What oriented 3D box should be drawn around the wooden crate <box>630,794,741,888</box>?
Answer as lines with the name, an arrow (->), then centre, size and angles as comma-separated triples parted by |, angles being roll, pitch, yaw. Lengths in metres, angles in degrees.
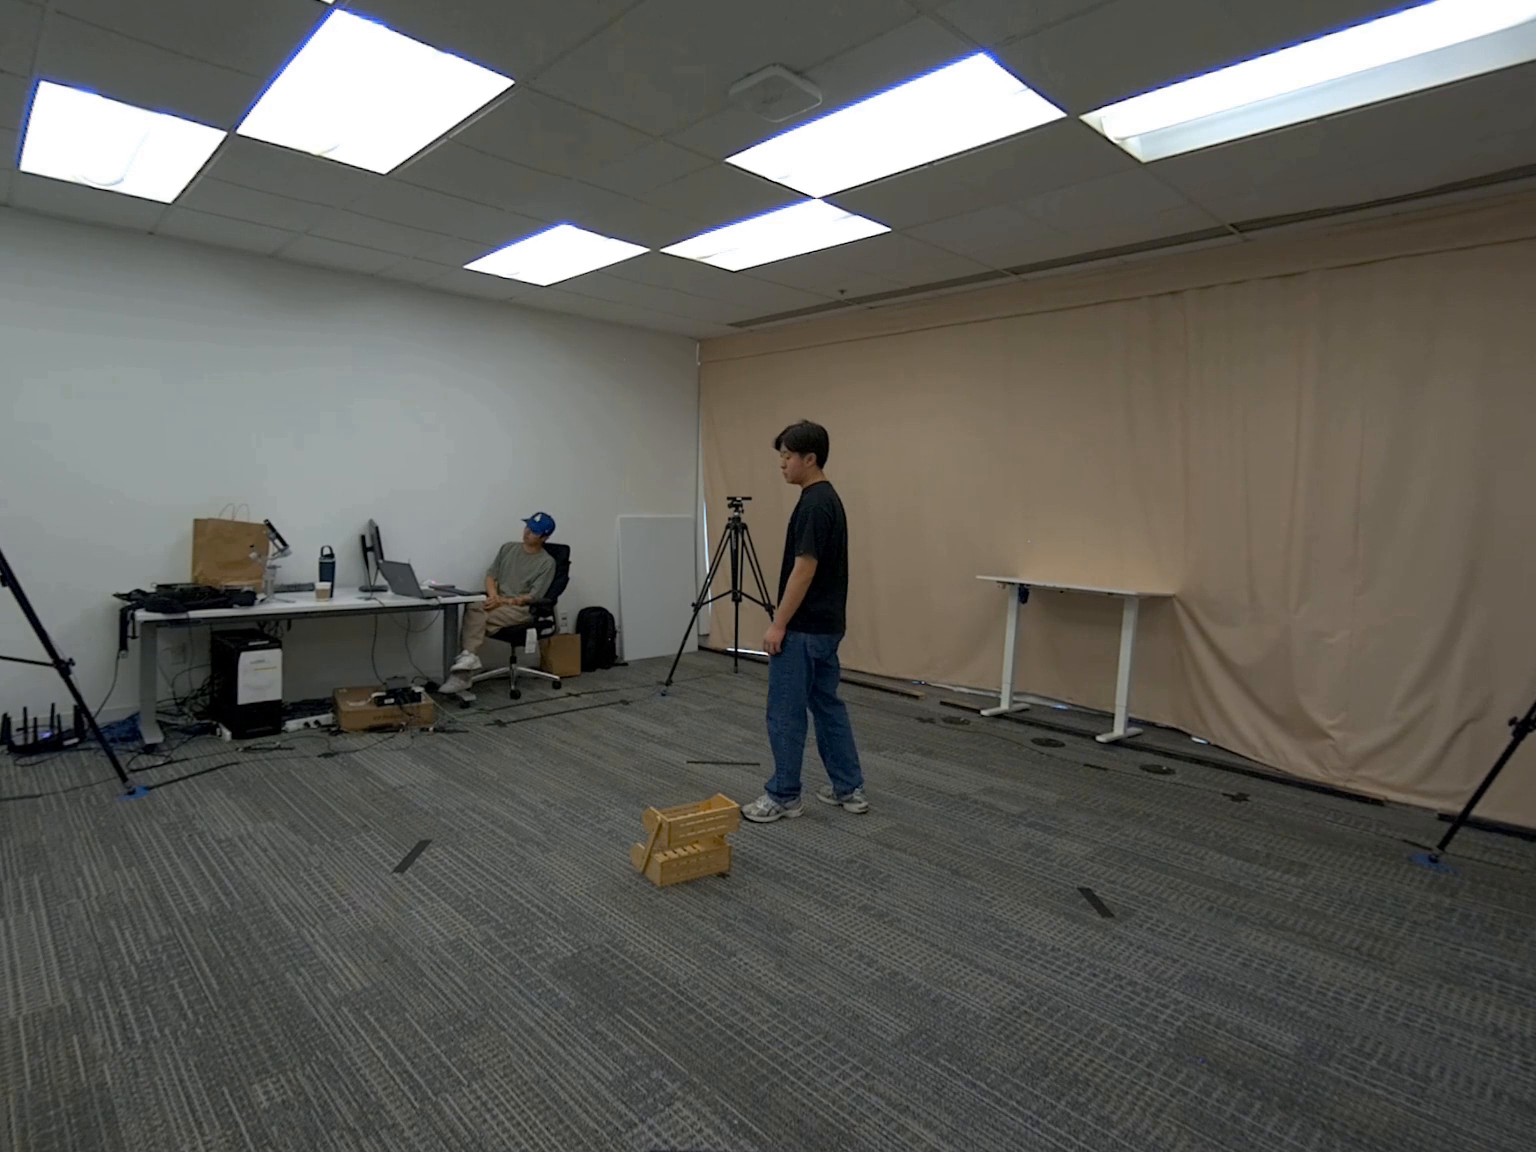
wooden crate -> -0.321, 0.965, 3.156 | 0.317, 0.272, 0.309 | -1, 6, -34
